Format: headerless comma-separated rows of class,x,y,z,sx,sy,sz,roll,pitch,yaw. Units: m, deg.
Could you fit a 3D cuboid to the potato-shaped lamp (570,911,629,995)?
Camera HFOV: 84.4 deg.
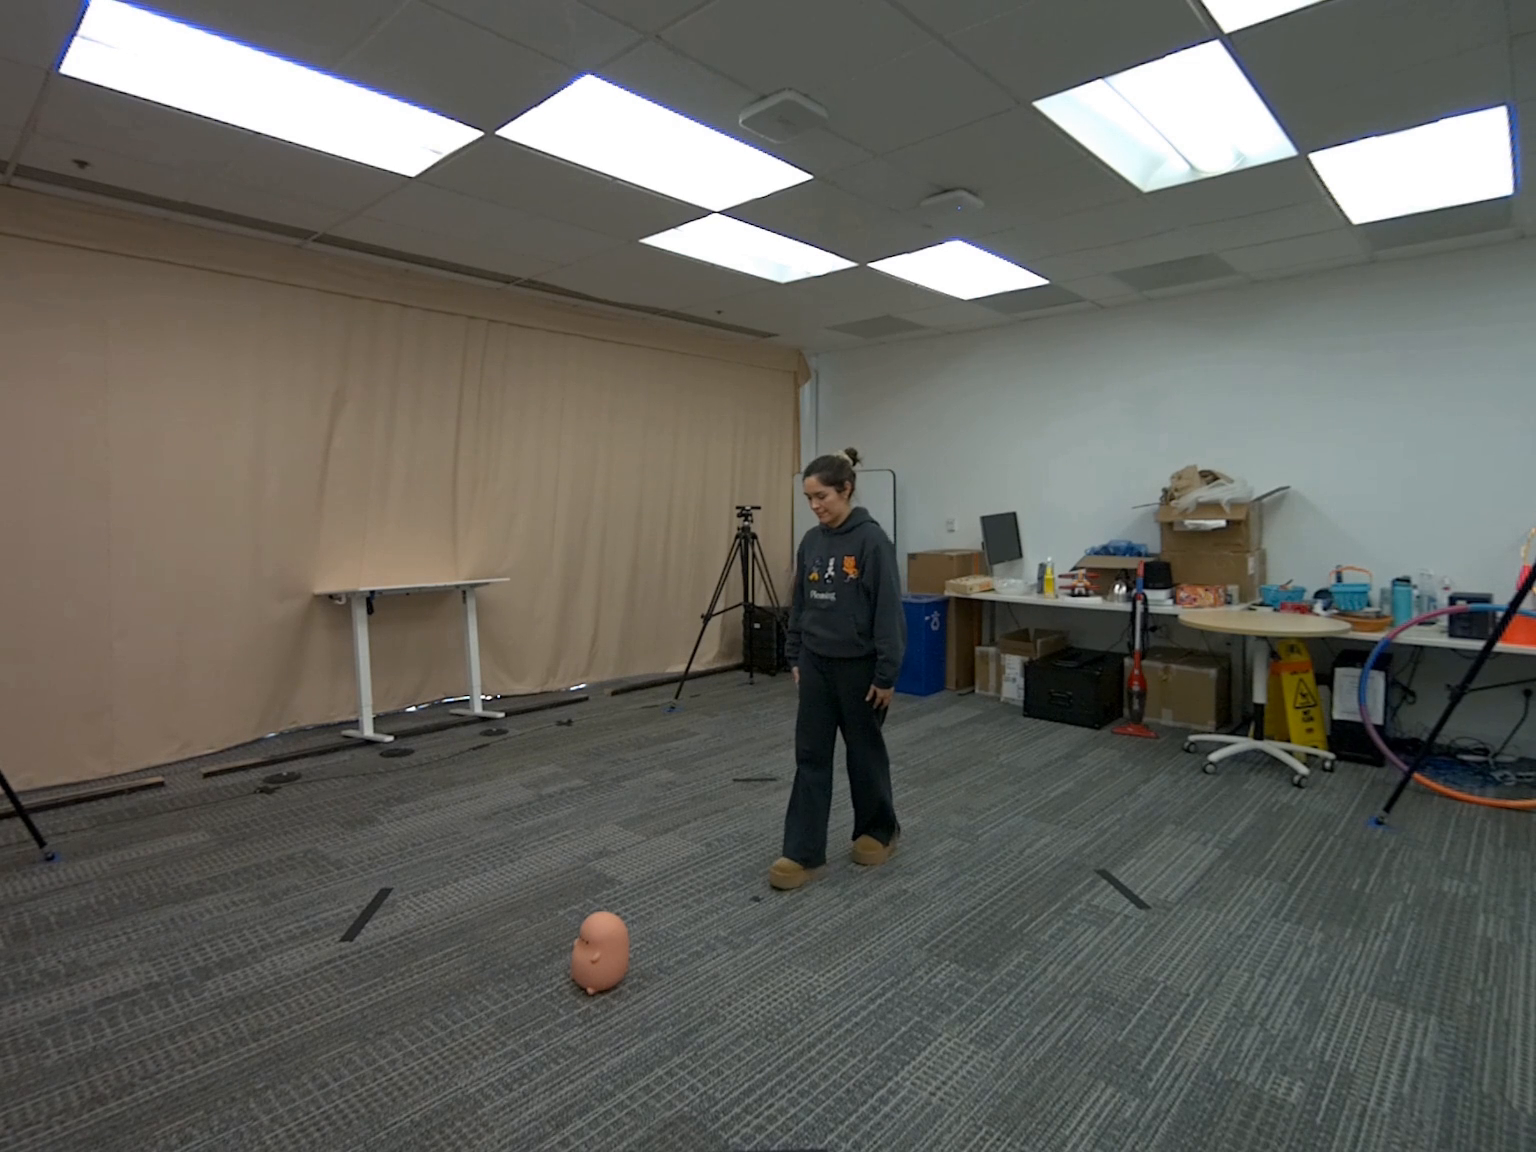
potato-shaped lamp,-0.473,1.097,2.468,0.170,0.198,0.166,1,5,45
